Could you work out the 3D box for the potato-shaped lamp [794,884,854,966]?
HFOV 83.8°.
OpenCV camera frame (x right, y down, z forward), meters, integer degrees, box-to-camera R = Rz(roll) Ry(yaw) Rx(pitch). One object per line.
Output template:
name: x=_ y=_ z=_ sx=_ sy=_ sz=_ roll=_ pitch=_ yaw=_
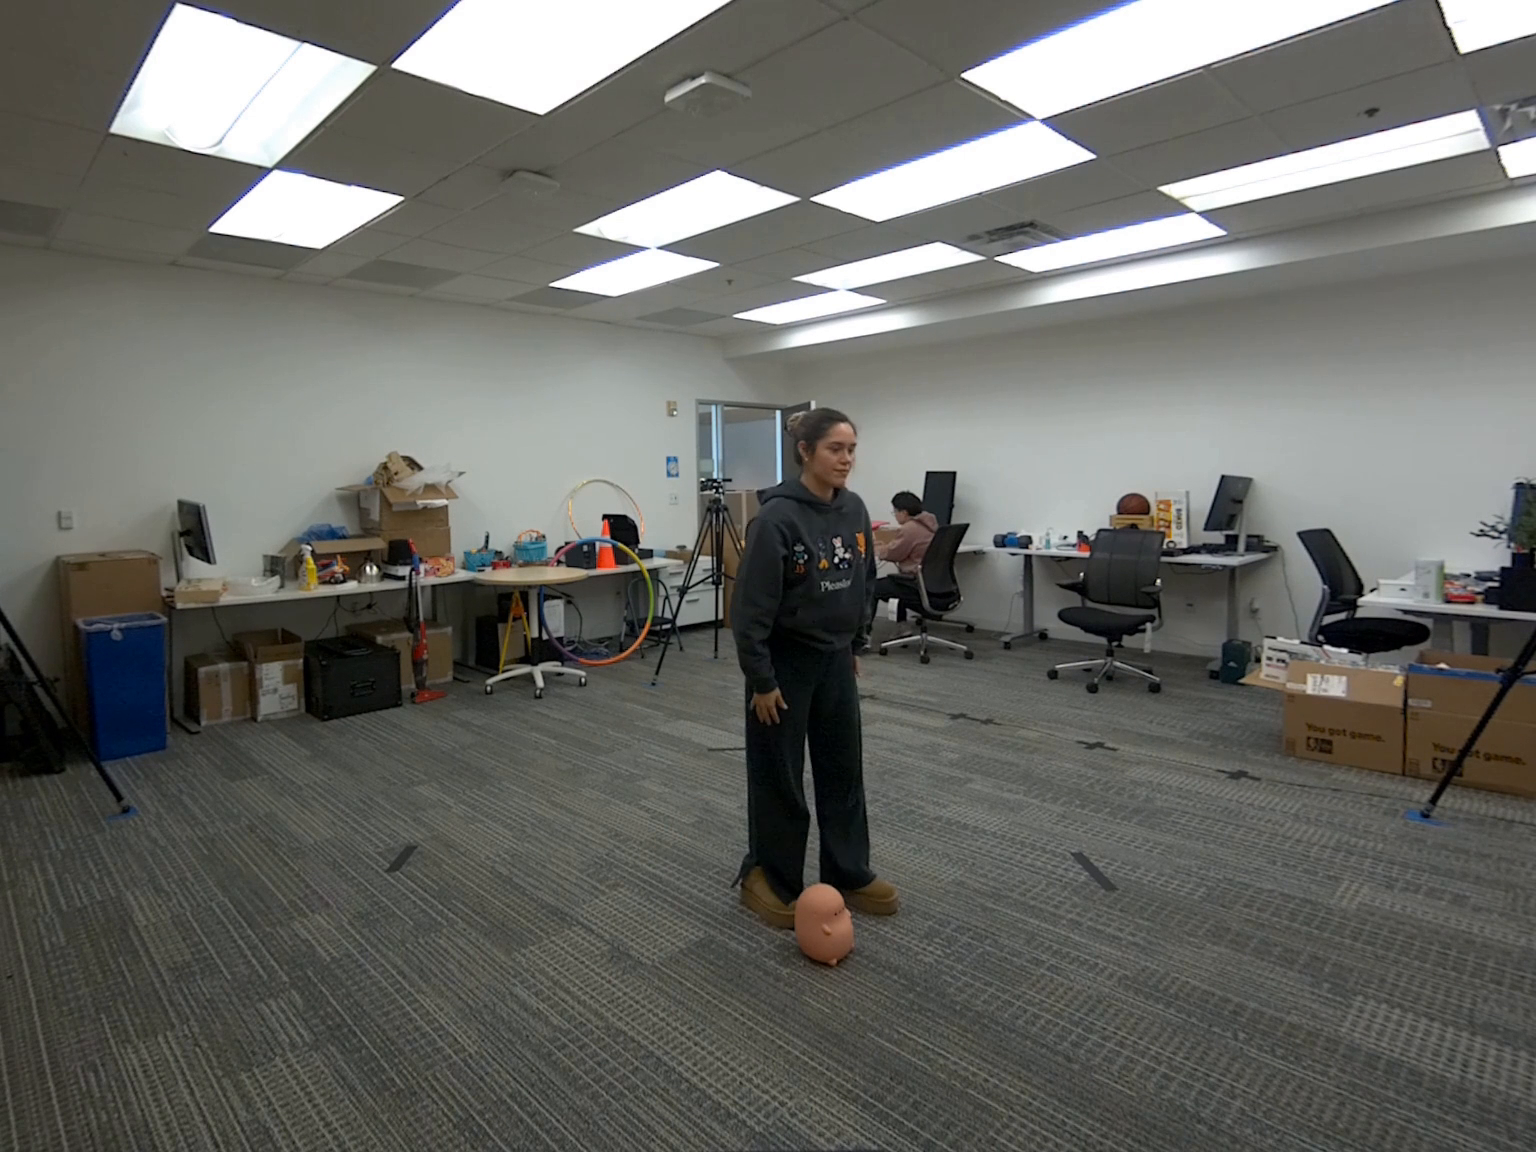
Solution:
potato-shaped lamp: x=0.165 y=1.012 z=2.501 sx=0.176 sy=0.197 sz=0.160 roll=6 pitch=7 yaw=36
